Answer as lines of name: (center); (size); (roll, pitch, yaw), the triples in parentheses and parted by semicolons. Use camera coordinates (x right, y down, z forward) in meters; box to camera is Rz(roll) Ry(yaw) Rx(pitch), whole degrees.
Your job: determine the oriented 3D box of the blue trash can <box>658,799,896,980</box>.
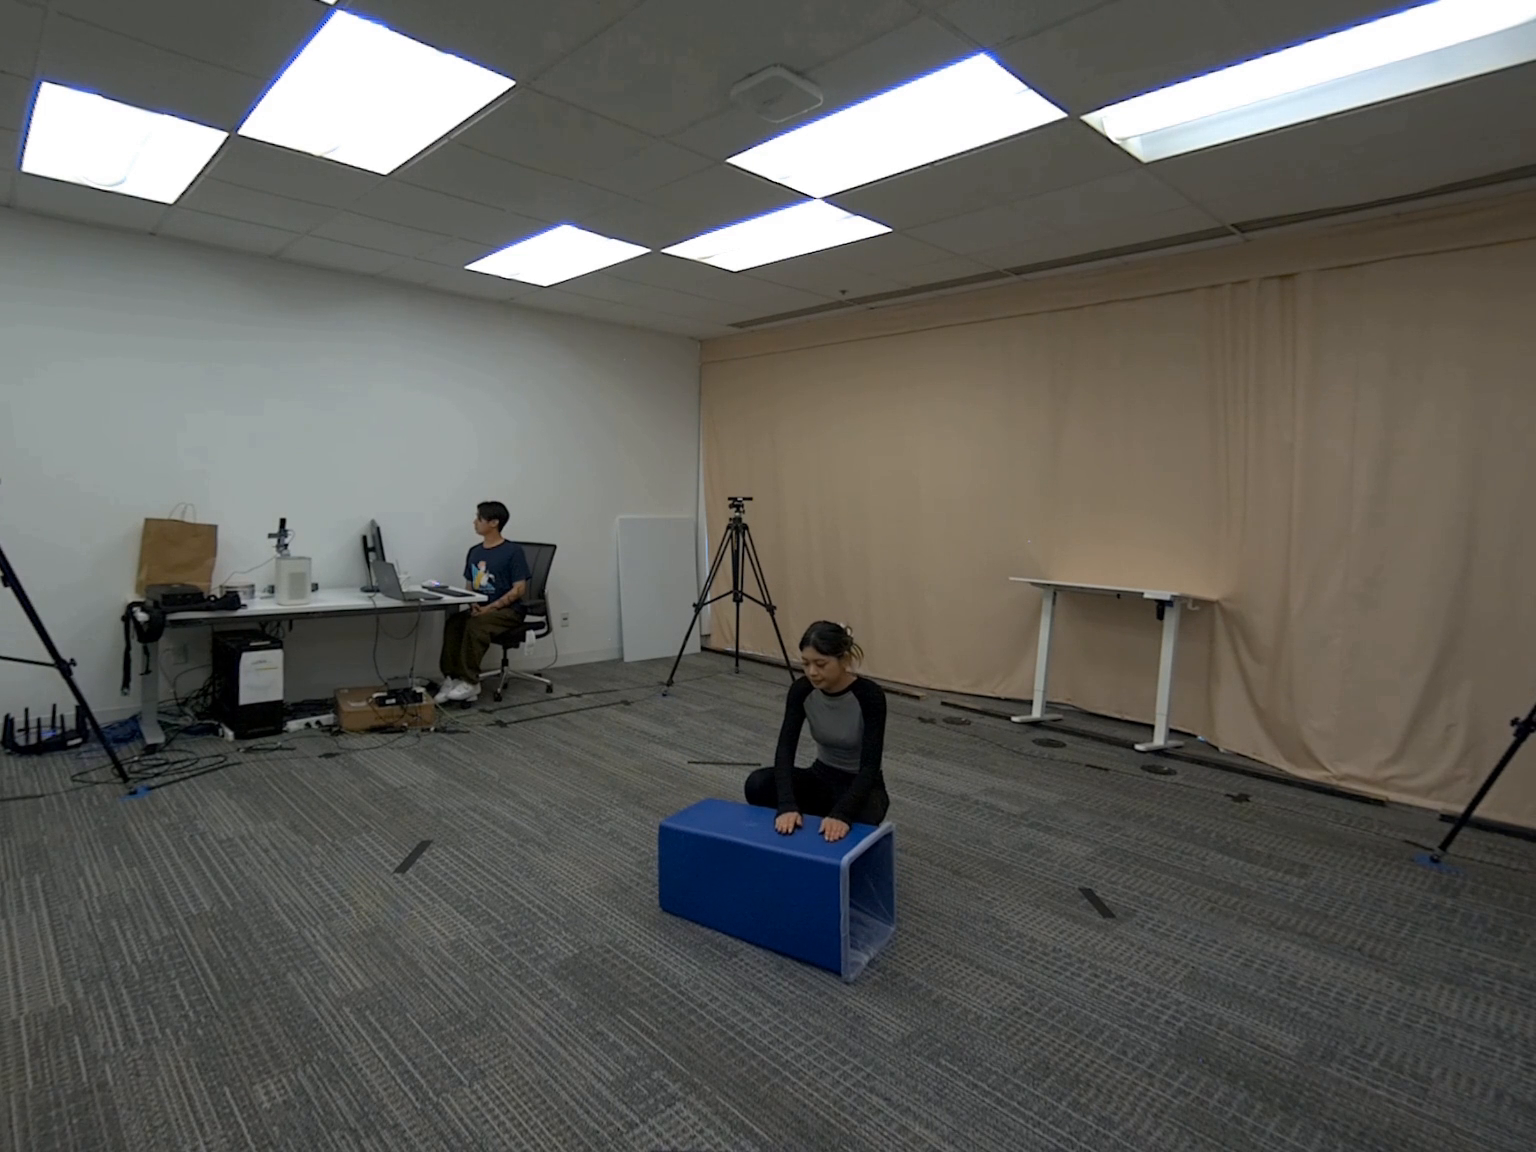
blue trash can: (0.010, 0.973, 2.758); (0.729, 0.377, 0.367); (2, 5, 33)
